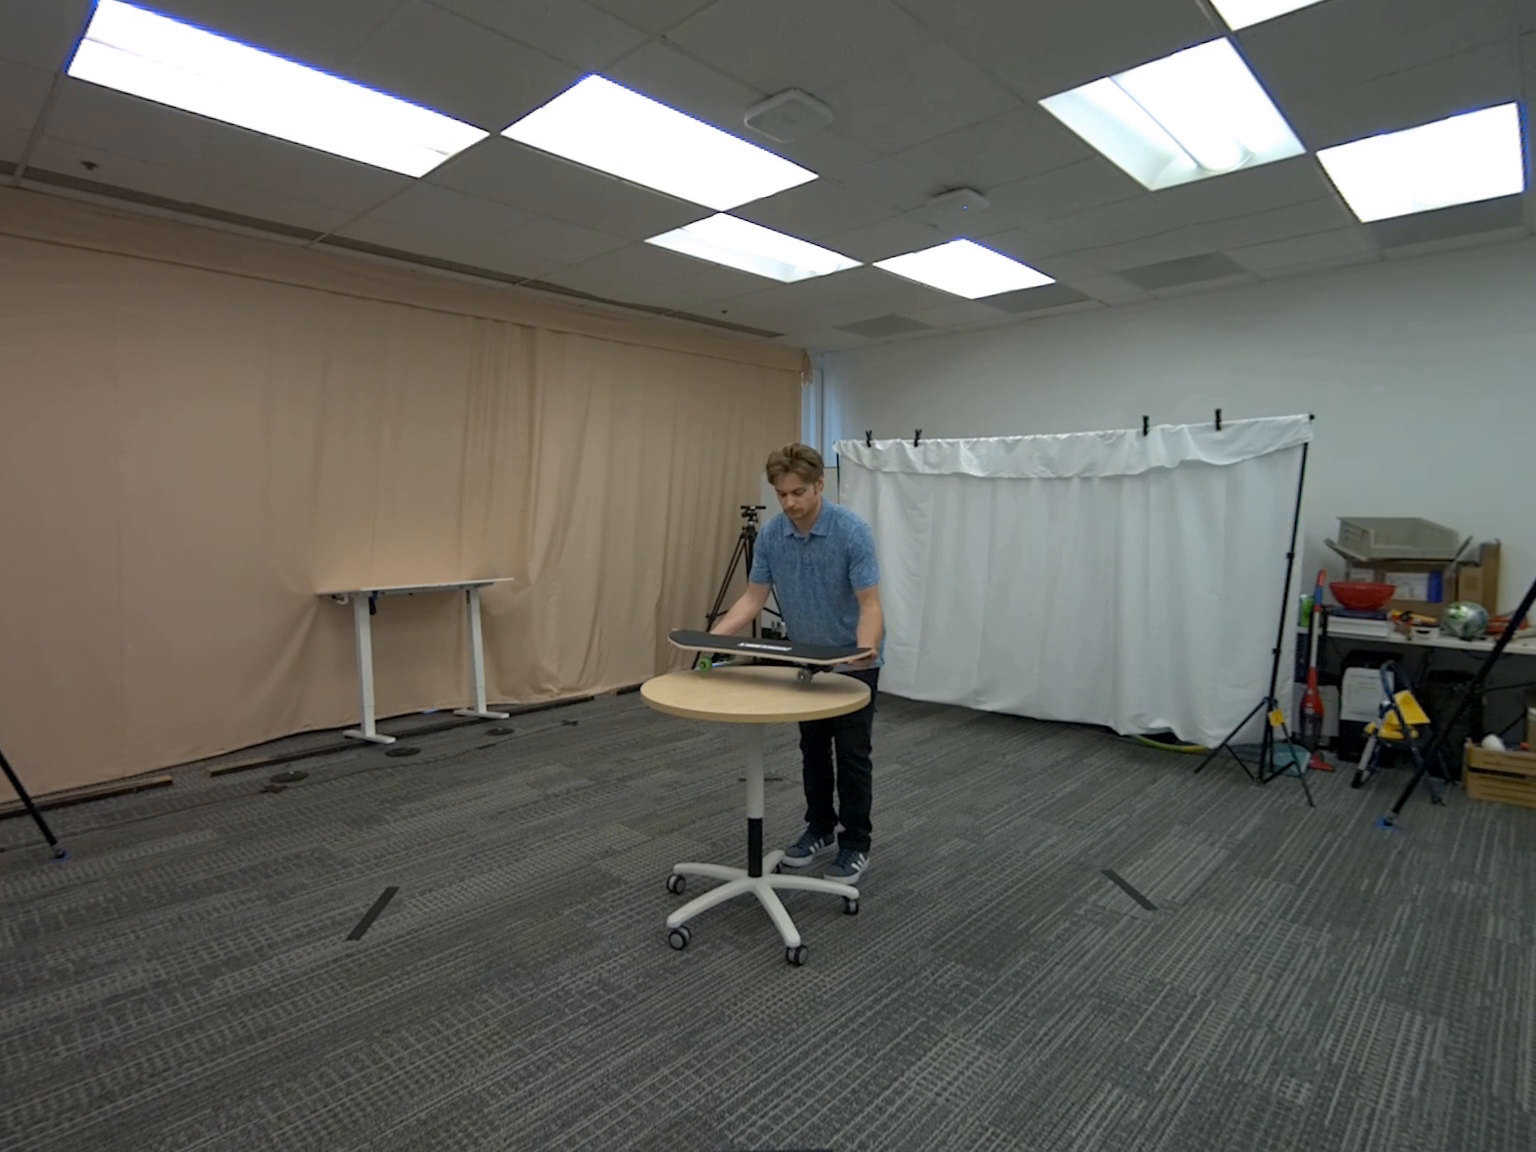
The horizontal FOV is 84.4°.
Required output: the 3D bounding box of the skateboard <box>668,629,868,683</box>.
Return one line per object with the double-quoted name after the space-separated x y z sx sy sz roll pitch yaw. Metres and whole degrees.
-0.014 0.275 2.907 0.810 0.110 0.188 4 9 34 "skateboard"
